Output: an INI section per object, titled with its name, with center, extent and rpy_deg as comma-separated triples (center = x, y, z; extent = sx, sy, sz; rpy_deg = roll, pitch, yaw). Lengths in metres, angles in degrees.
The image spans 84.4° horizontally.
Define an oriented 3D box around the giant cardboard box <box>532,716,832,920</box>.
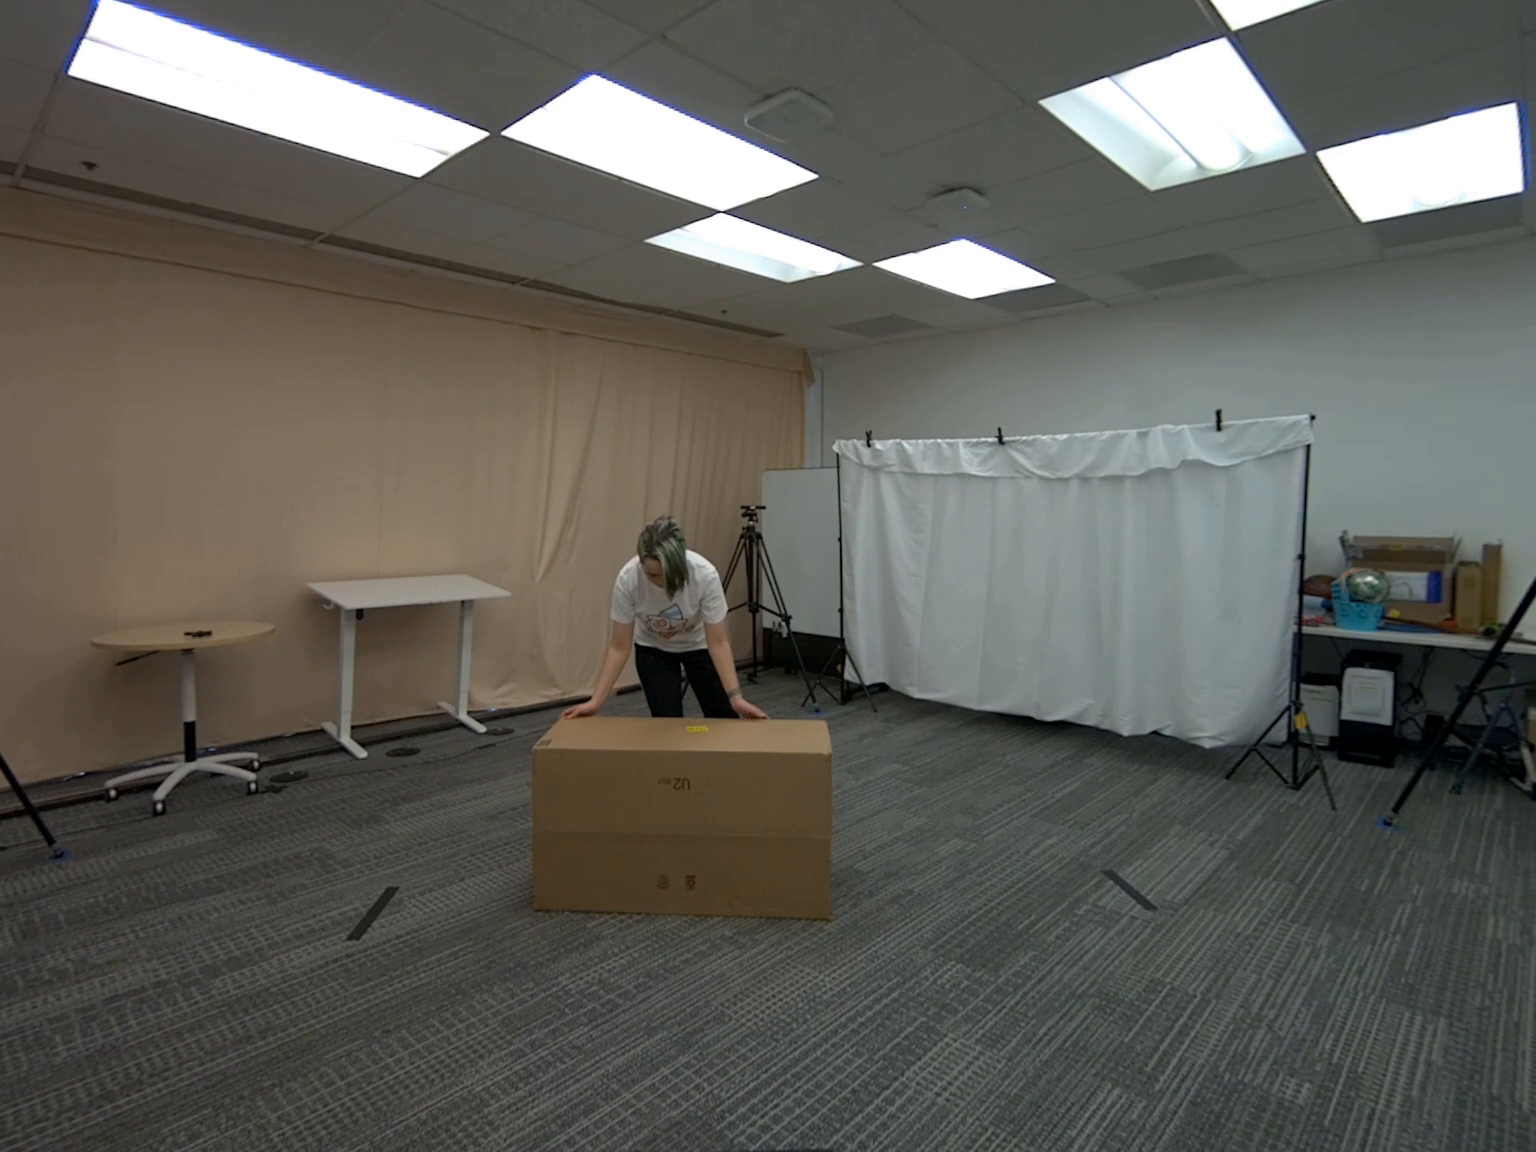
[giant cardboard box]
center = -0.292, 0.851, 3.056
extent = 1.031, 0.576, 0.425
rpy_deg = 0, 4, 4
